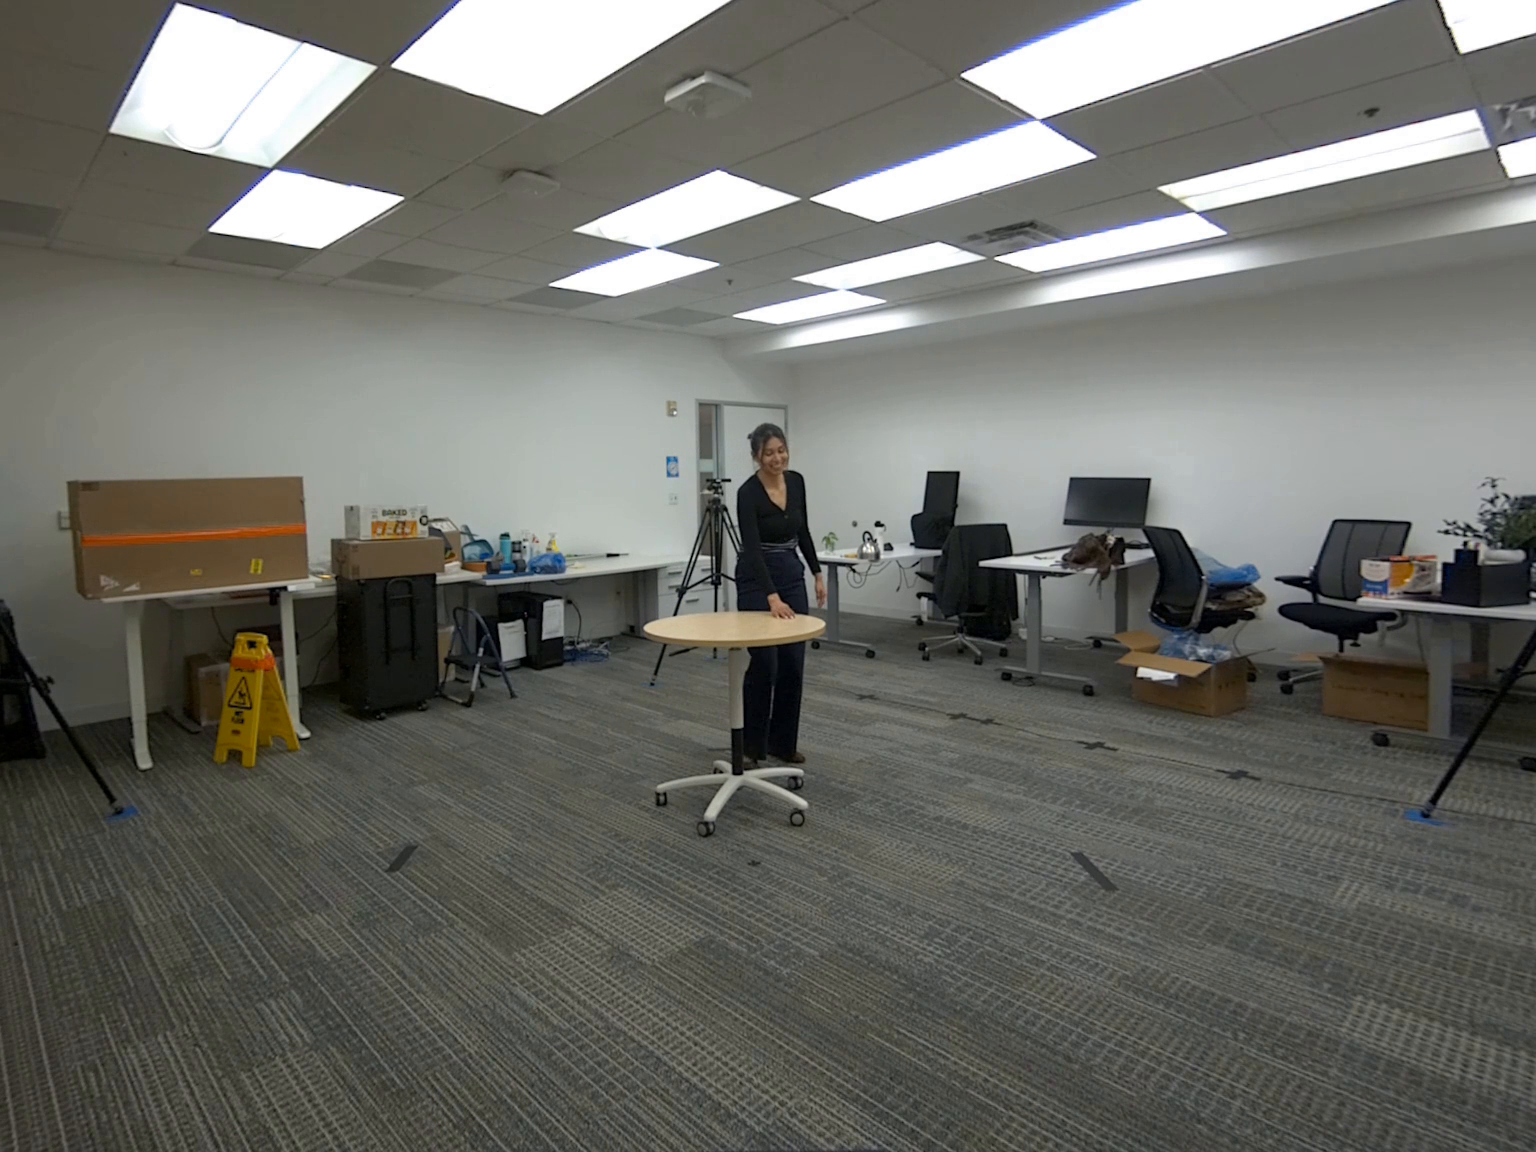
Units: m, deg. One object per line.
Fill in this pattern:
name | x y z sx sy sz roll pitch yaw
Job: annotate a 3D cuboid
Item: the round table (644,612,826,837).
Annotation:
round table | -0.132 0.599 3.631 0.763 0.791 0.767 -1 4 -2
